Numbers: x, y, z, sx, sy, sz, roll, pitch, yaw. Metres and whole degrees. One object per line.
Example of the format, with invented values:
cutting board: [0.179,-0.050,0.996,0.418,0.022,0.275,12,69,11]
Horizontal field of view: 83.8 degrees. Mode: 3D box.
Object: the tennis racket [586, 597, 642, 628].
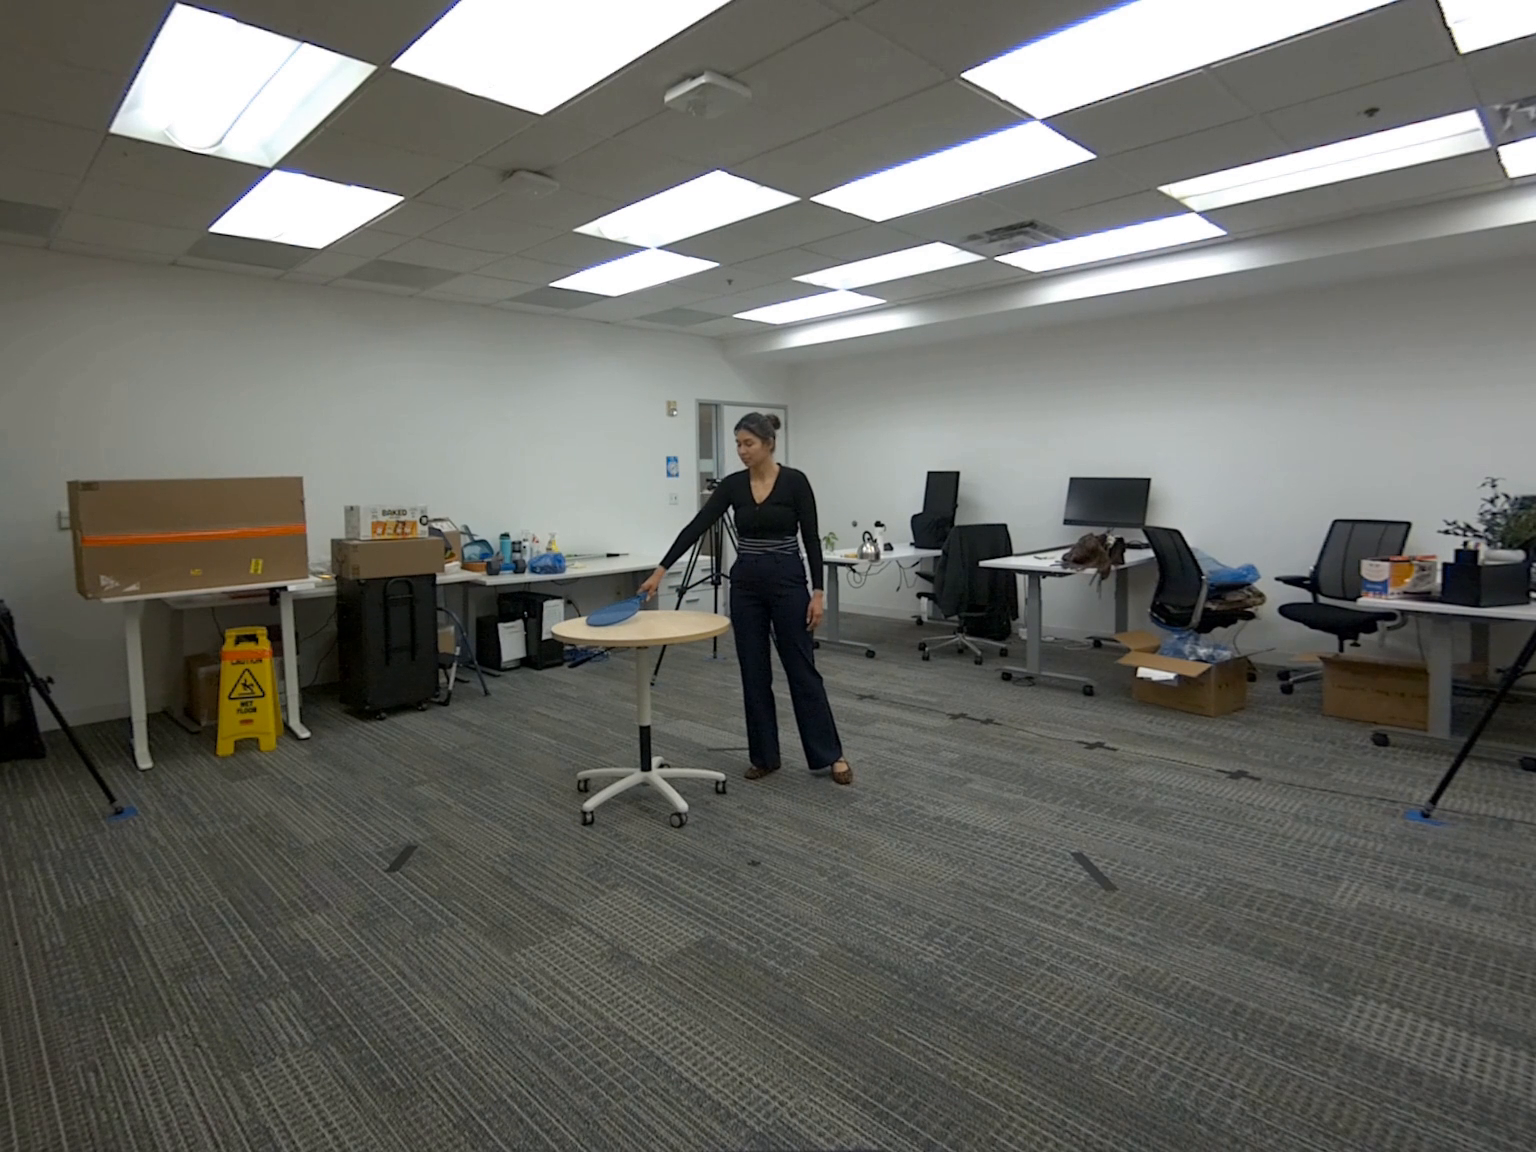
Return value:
tennis racket: [-0.641,0.140,3.800,0.220,0.031,0.428,4,23,34]
